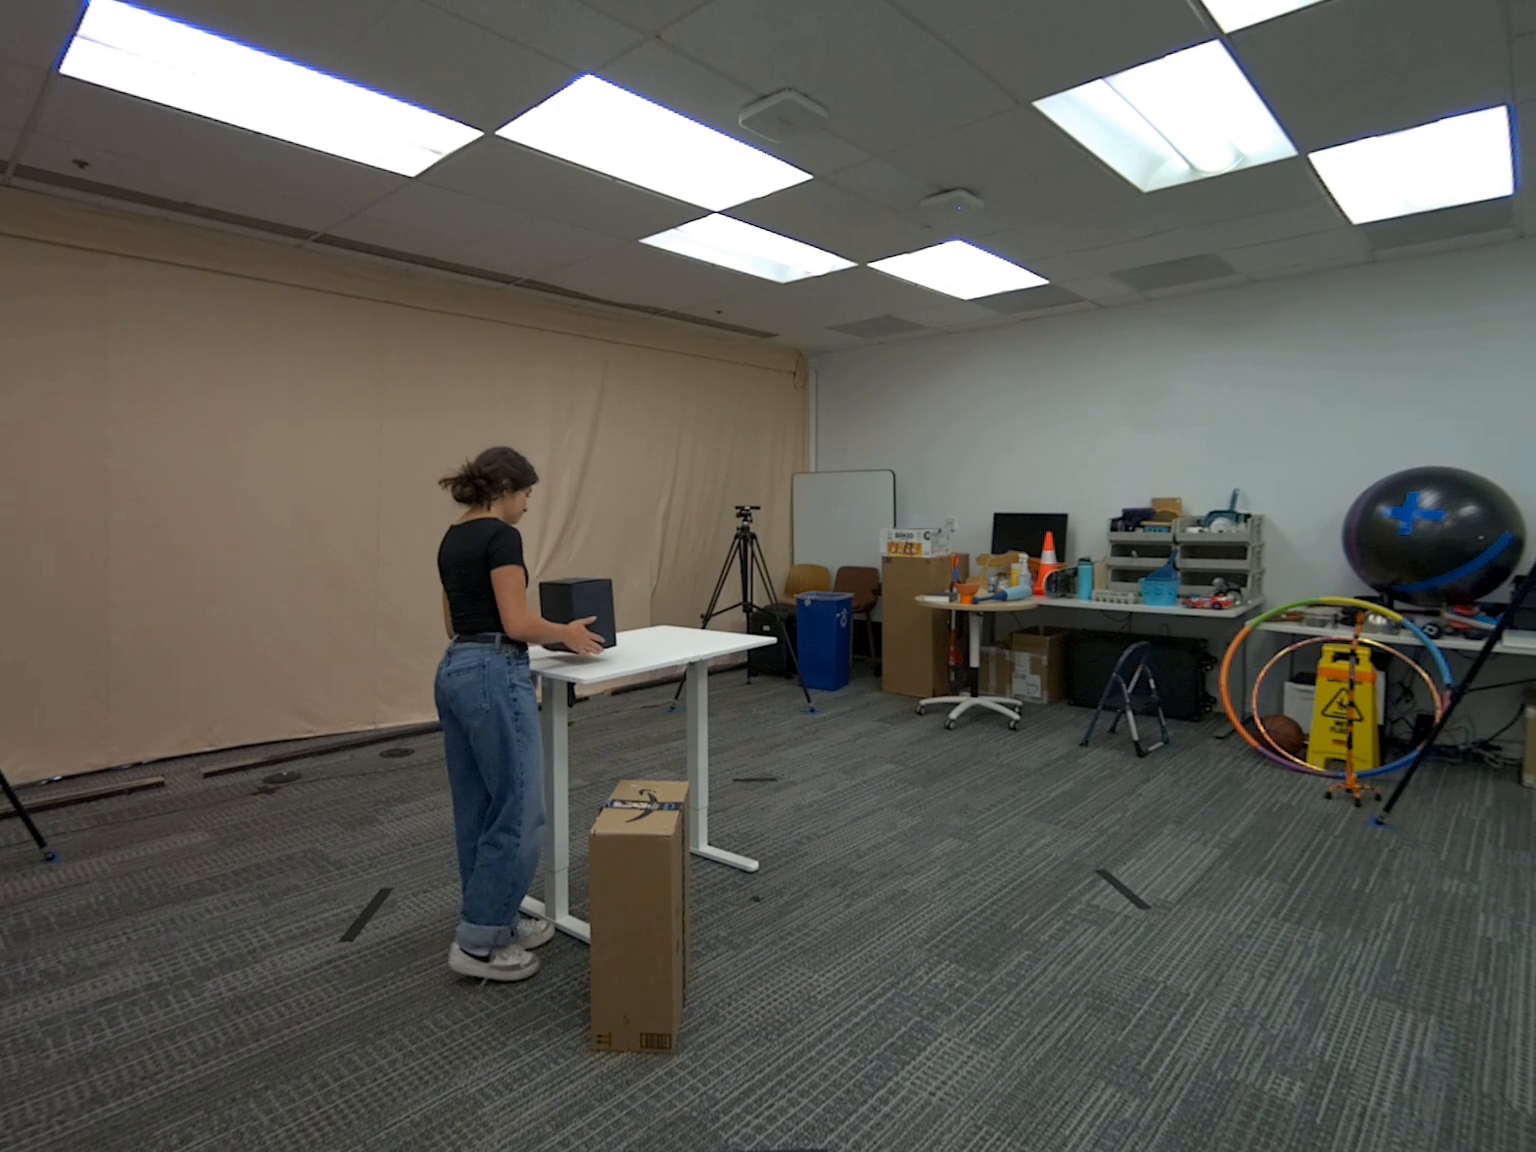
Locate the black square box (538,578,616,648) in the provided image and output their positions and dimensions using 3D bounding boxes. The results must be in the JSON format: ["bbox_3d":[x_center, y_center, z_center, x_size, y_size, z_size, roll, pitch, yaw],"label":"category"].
[{"bbox_3d":[-0.633,0.127,2.797,0.151,0.227,0.224,-6,4,-44],"label":"black square box"}]
